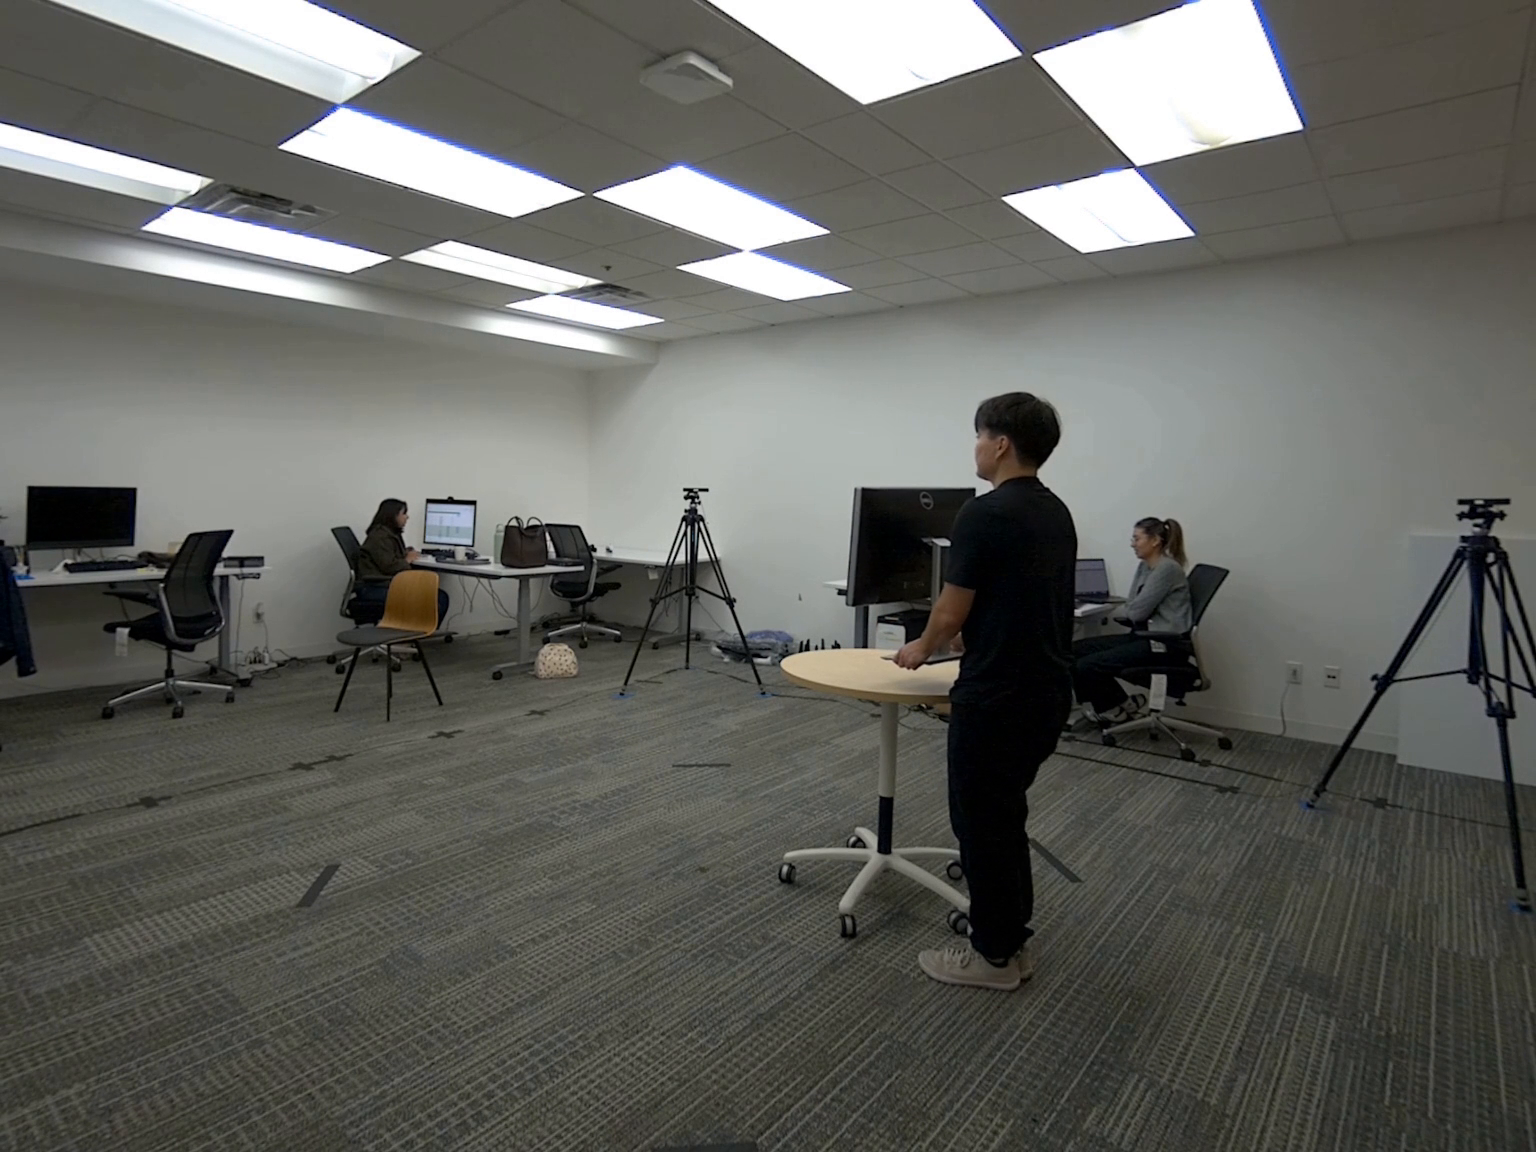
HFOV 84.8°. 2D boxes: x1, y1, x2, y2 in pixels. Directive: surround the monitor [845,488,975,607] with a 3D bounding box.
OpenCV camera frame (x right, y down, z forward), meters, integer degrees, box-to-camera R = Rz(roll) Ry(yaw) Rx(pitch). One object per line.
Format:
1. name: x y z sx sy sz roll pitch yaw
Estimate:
1. monitor: 0.487 -0.019 2.685 0.523 0.524 0.192 -4 -2 -40
